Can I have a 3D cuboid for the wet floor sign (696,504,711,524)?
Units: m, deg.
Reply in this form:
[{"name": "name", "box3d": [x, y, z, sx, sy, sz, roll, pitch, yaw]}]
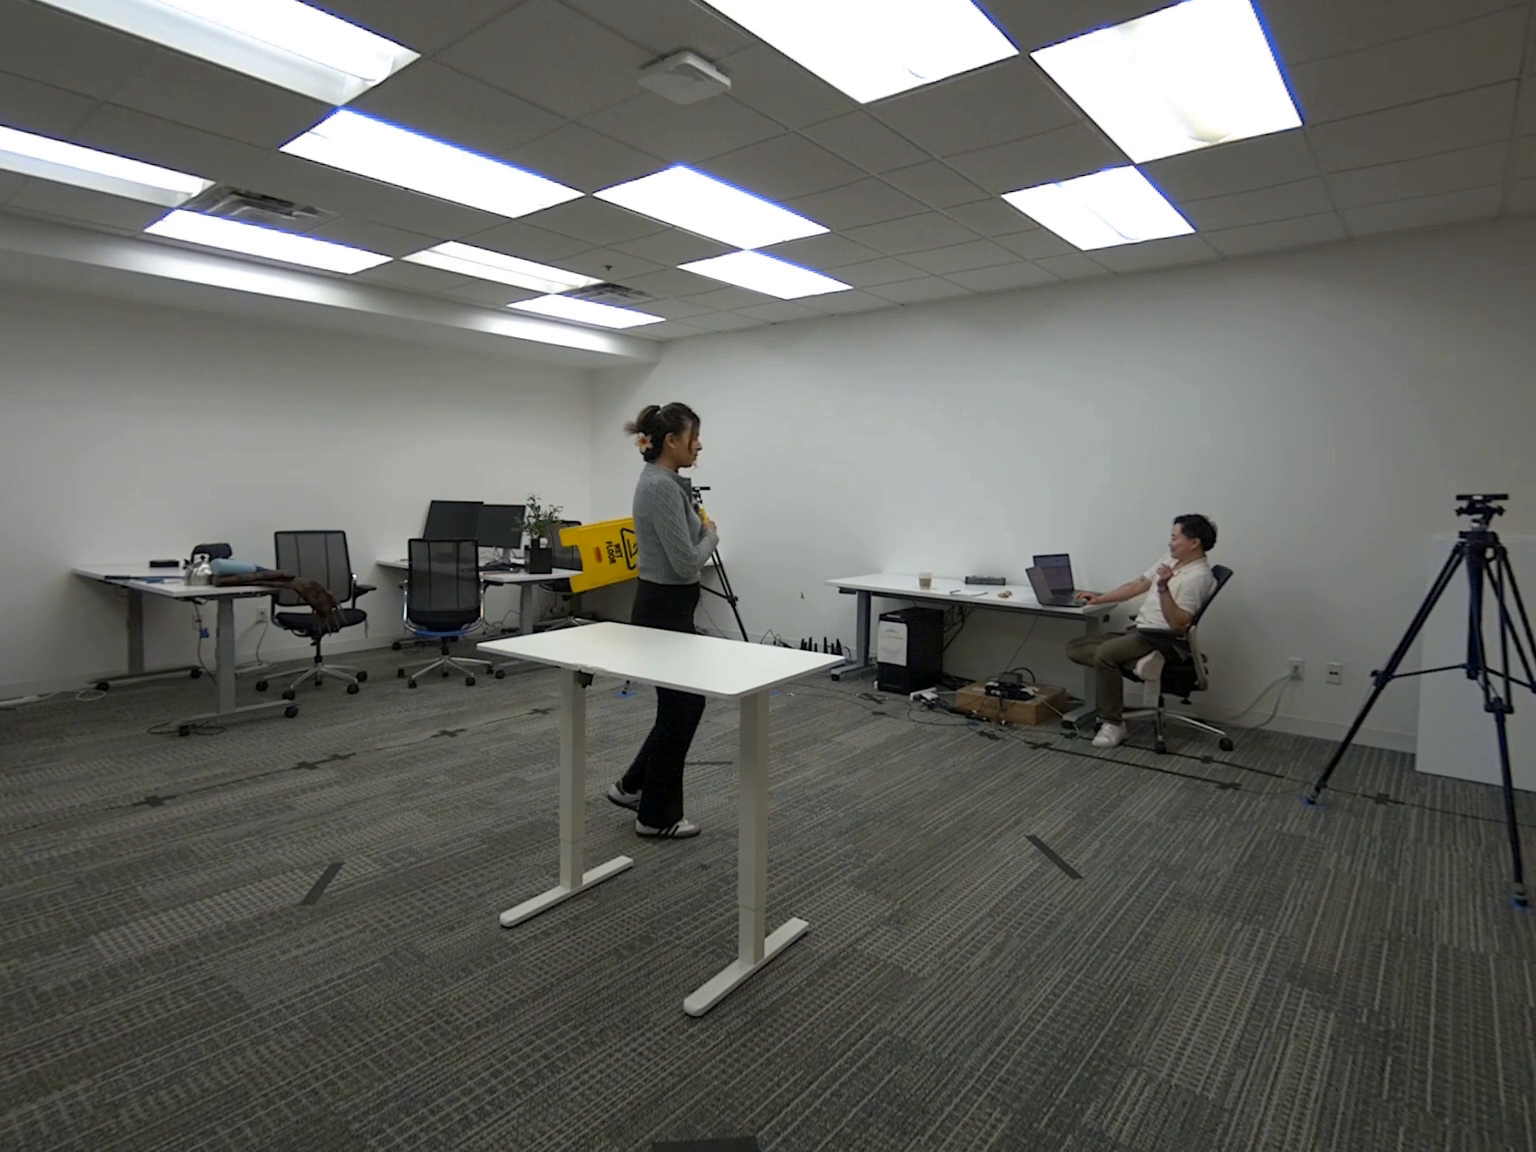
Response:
[{"name": "wet floor sign", "box3d": [-0.533, -0.139, 3.602, 0.660, 0.282, 0.284, -10, 2, 28]}]
